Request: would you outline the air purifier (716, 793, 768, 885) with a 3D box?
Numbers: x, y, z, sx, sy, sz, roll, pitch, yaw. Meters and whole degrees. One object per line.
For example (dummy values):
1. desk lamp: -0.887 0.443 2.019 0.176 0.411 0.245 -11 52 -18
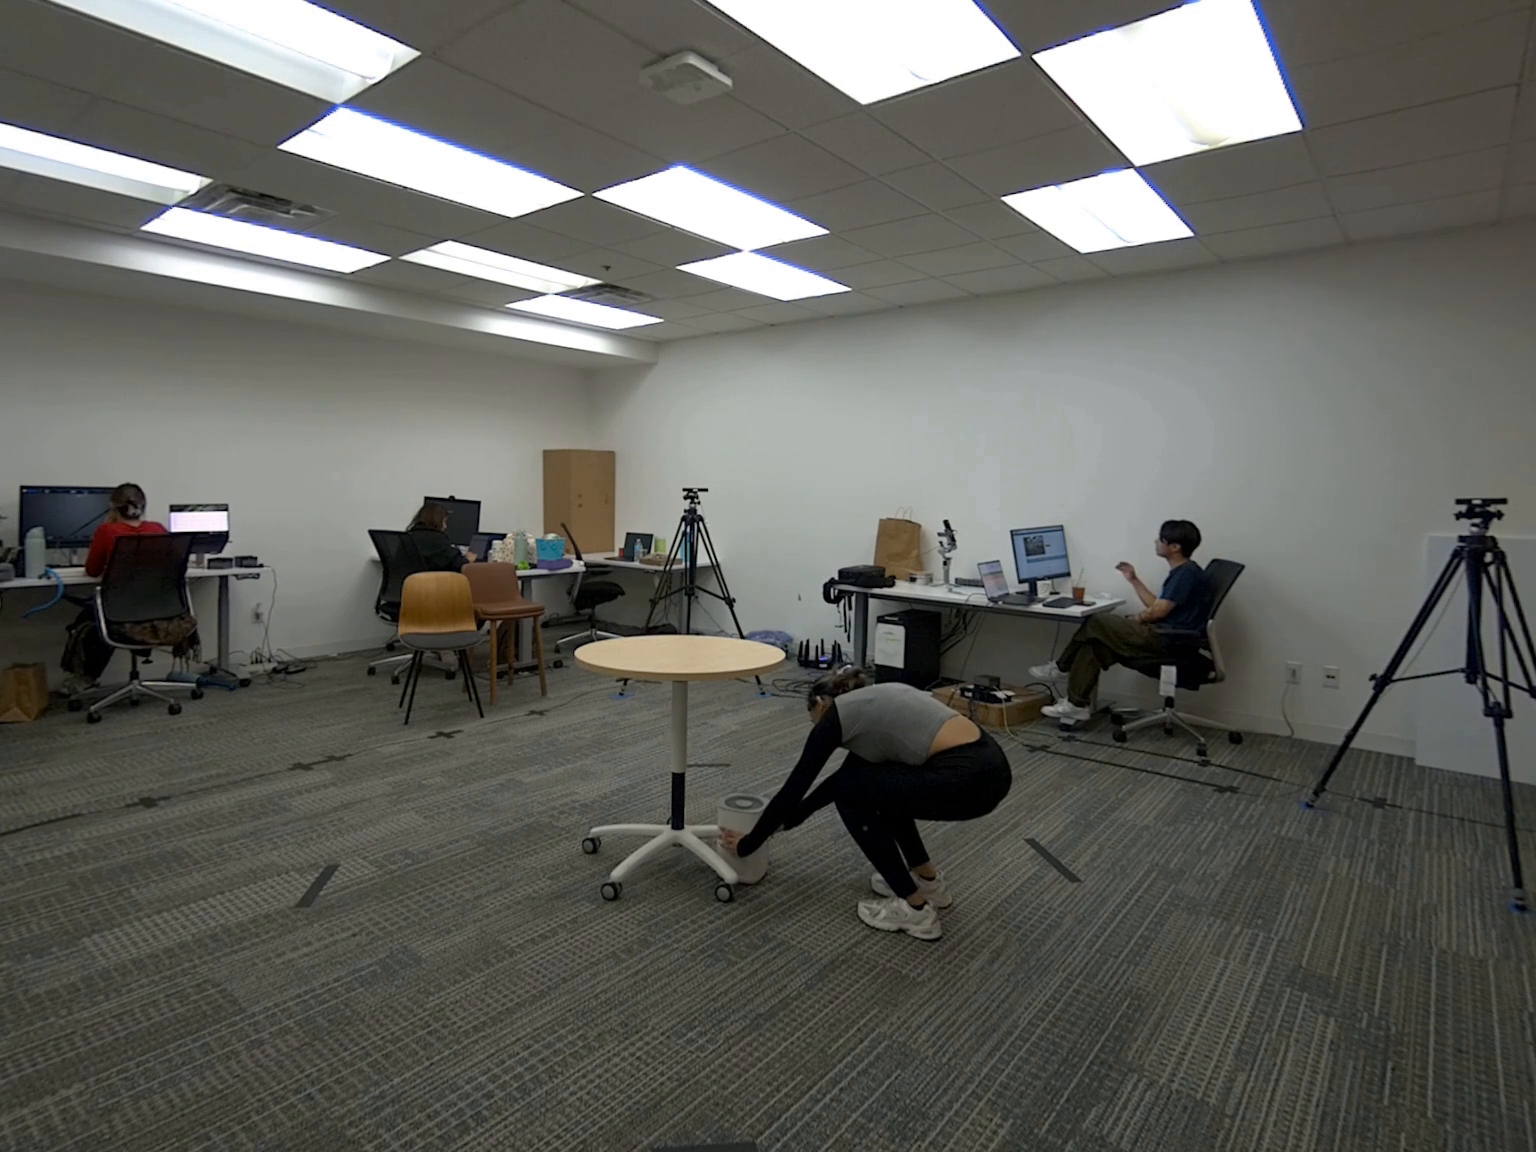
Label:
1. air purifier: -0.104 0.947 3.064 0.174 0.264 0.169 -1 5 13
